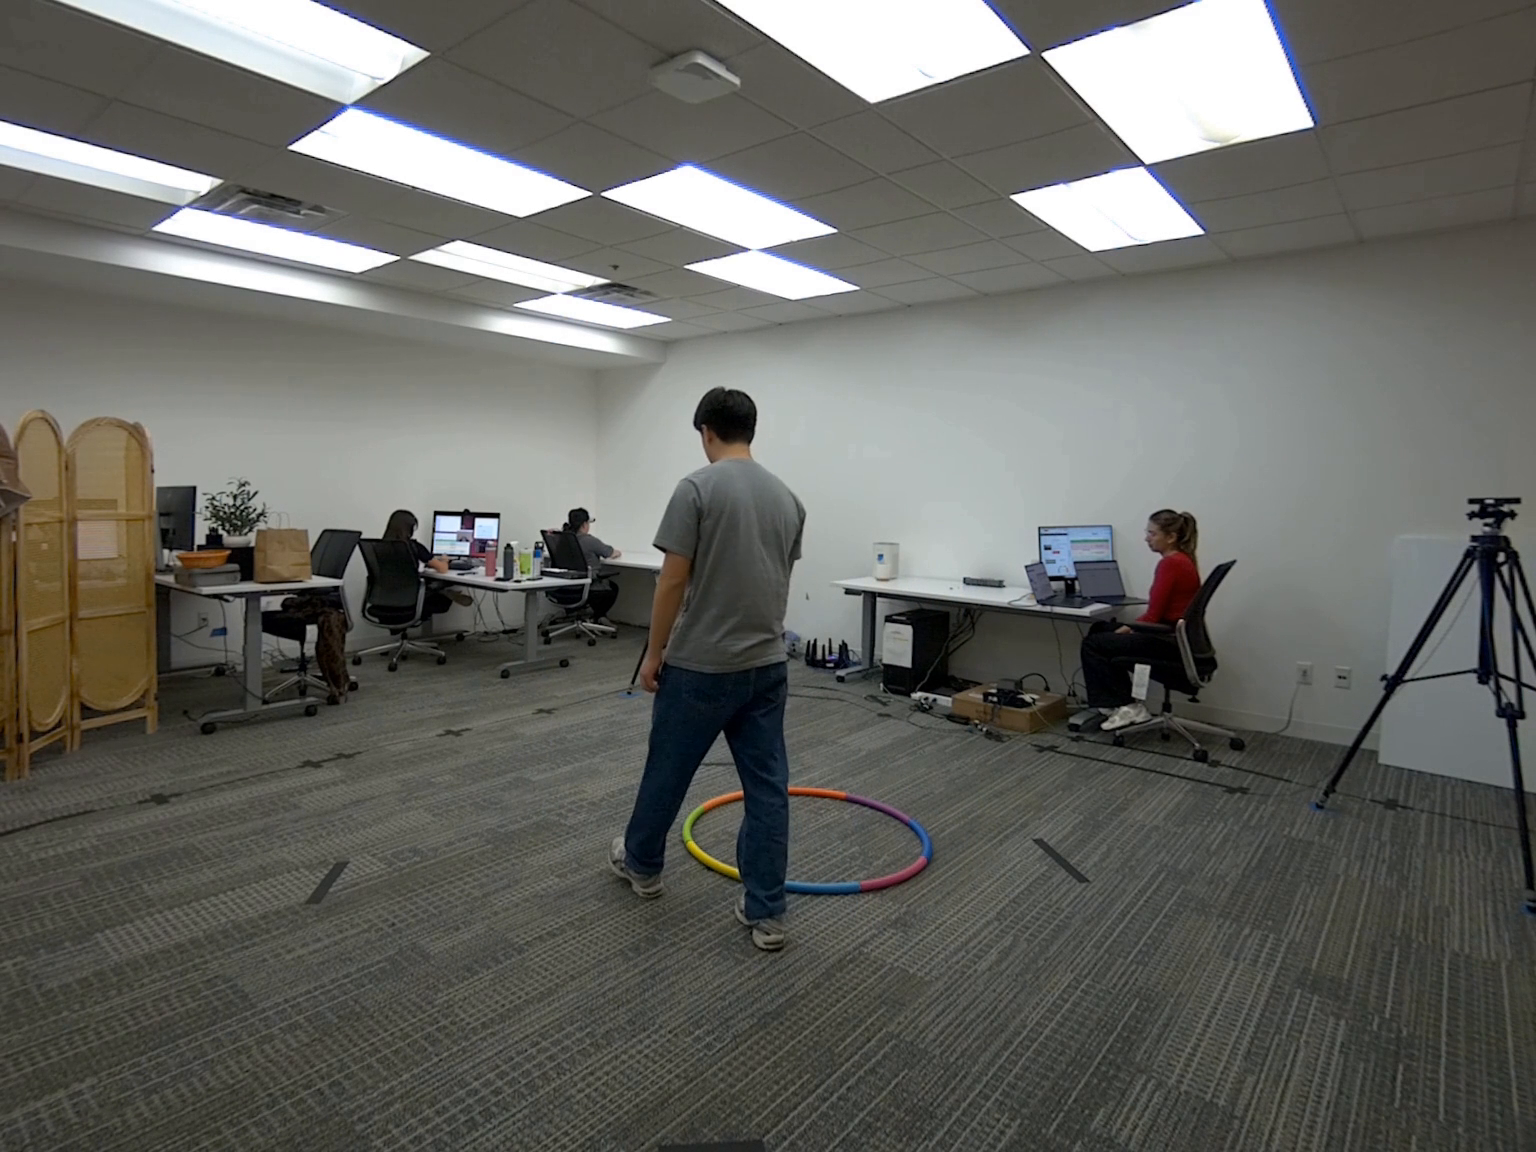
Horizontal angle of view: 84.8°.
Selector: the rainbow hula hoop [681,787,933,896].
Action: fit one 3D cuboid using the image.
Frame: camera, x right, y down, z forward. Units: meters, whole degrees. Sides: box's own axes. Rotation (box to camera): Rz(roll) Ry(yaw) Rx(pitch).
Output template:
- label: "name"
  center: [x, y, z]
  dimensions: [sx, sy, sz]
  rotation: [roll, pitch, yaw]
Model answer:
- label: "rainbow hula hoop"
  center: [0.138, 1.018, 3.400]
  dimensions: [0.978, 0.035, 0.984]
  rotation: [1, 6, -2]
